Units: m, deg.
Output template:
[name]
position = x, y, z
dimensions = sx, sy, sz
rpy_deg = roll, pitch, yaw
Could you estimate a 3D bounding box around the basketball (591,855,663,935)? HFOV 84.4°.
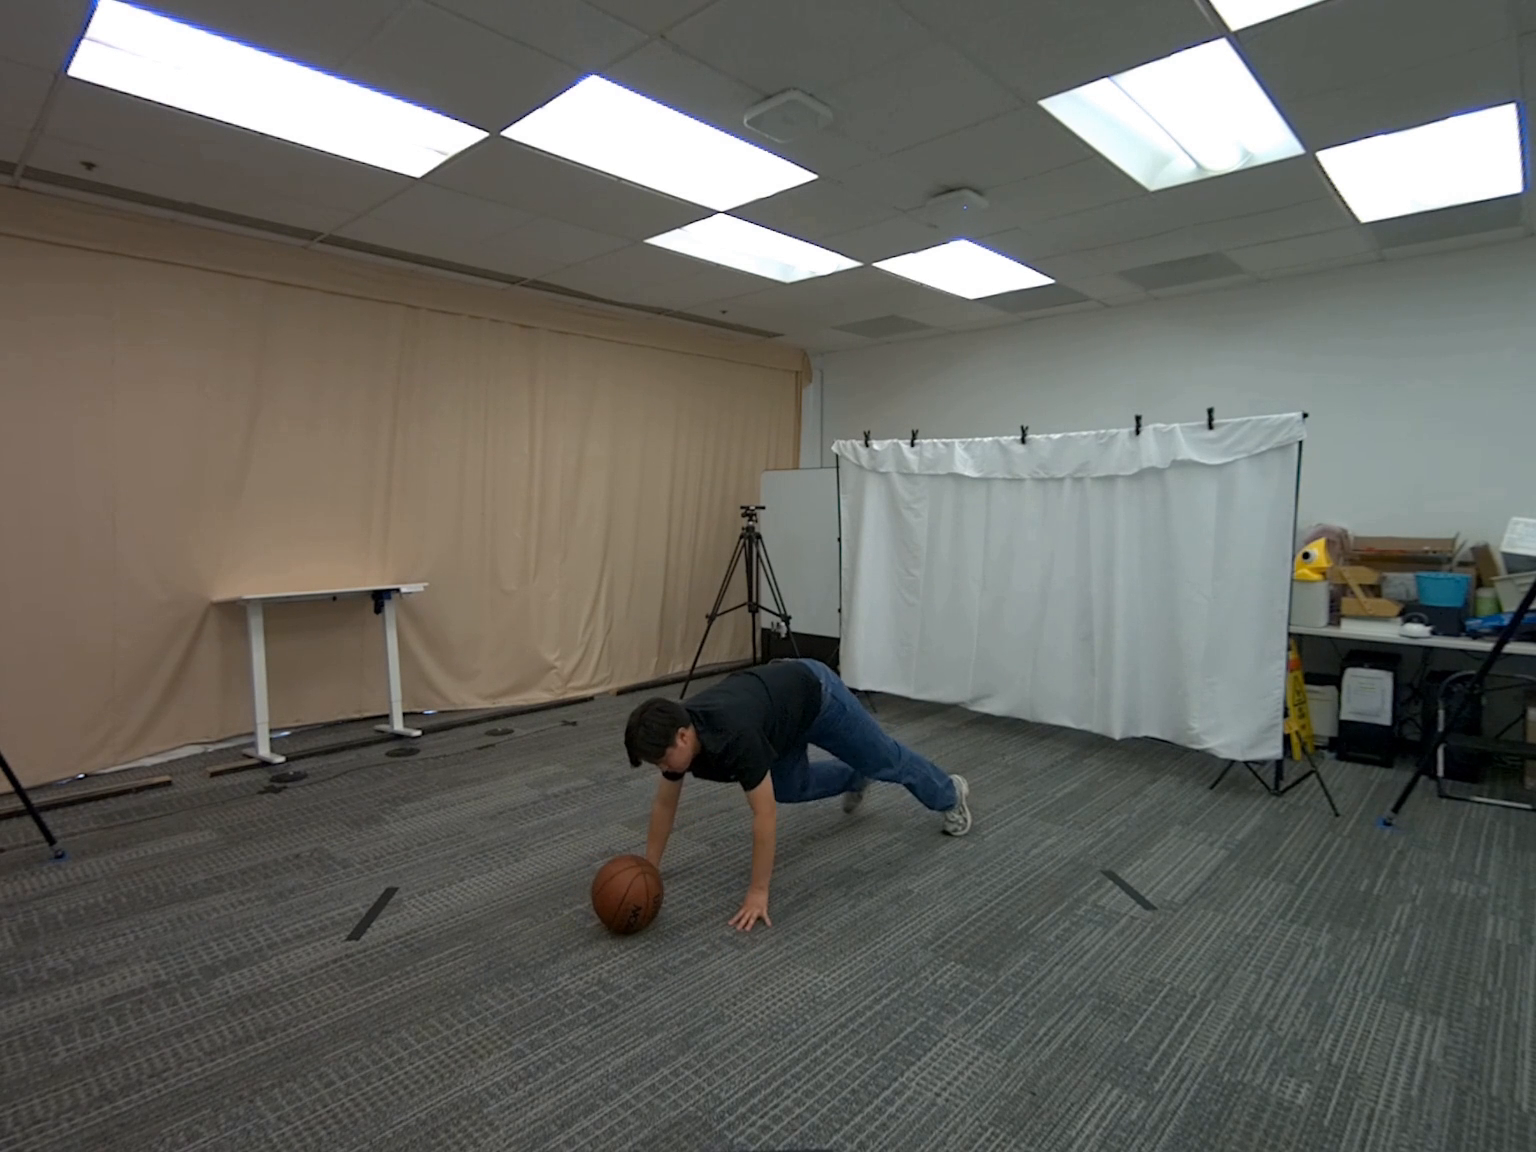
[basketball]
position = -0.462, 1.040, 2.773
dimensions = 0.236, 0.235, 0.237
rpy_deg = 0, 4, -2
